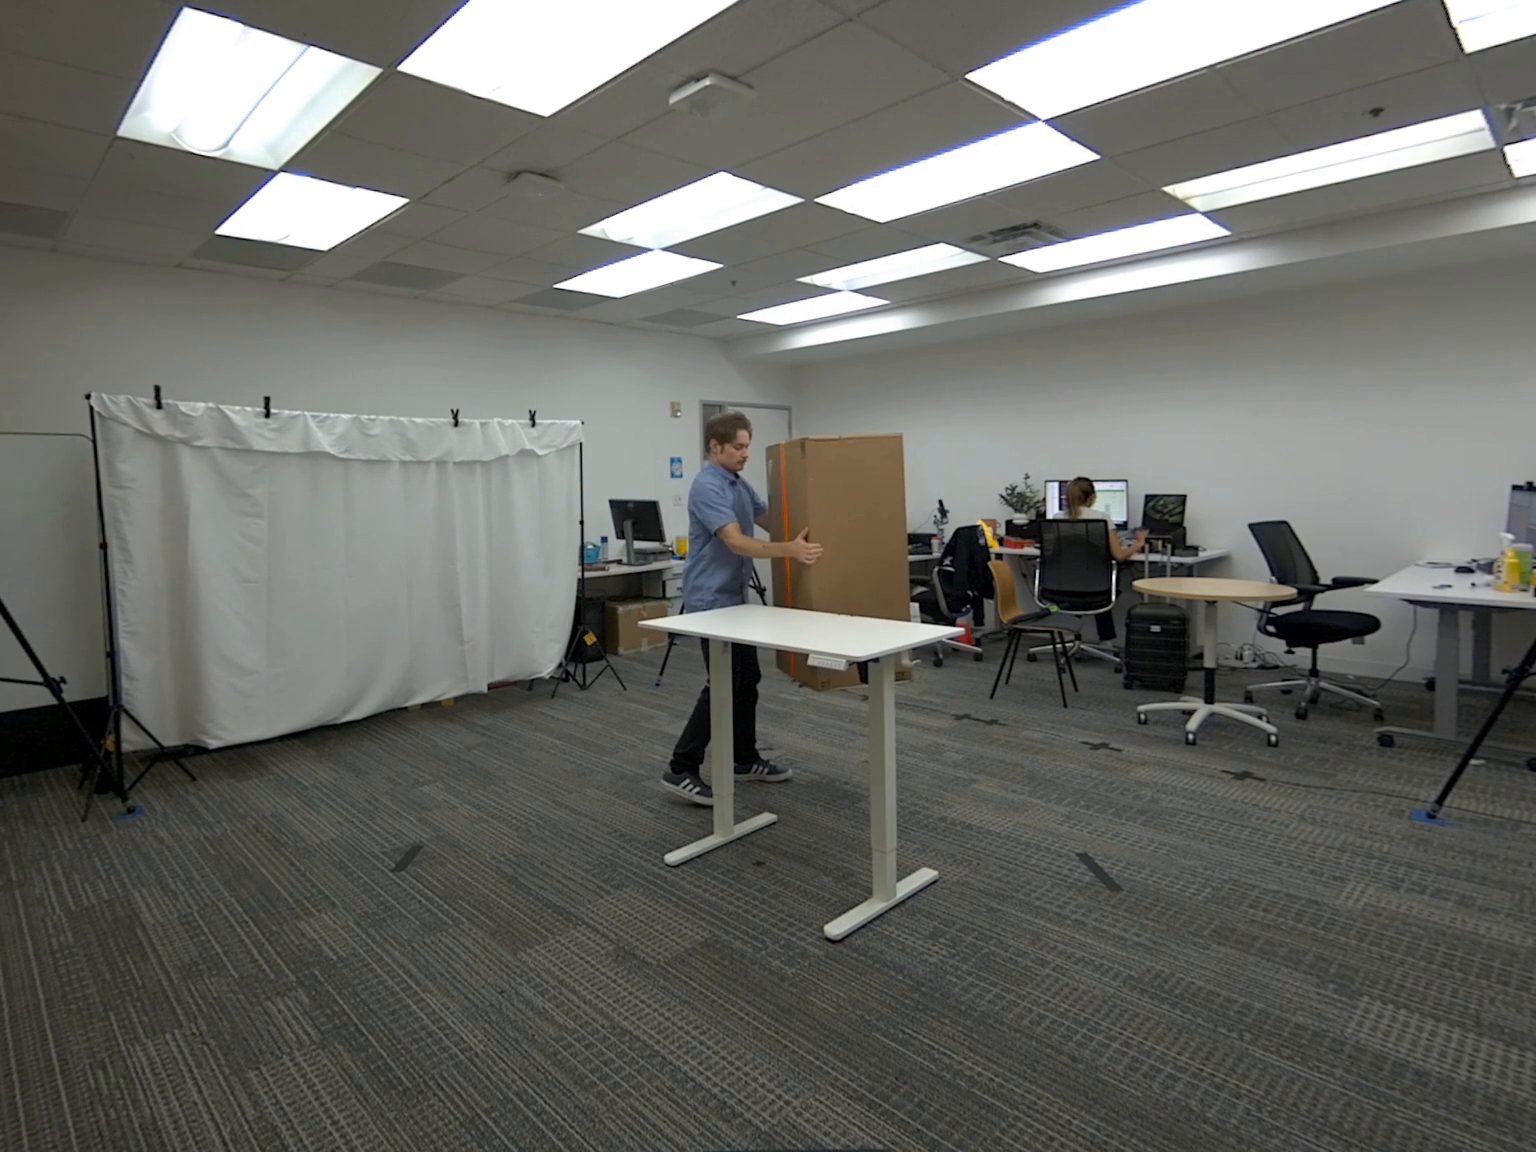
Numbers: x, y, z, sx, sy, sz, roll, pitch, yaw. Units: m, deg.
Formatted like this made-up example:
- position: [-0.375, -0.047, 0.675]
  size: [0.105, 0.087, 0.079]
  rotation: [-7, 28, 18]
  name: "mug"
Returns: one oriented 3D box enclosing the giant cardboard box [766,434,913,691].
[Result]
- position: [0.291, -0.075, 3.704]
  size: [0.421, 1.023, 0.586]
  rotation: [-4, 3, -15]
  name: "giant cardboard box"
